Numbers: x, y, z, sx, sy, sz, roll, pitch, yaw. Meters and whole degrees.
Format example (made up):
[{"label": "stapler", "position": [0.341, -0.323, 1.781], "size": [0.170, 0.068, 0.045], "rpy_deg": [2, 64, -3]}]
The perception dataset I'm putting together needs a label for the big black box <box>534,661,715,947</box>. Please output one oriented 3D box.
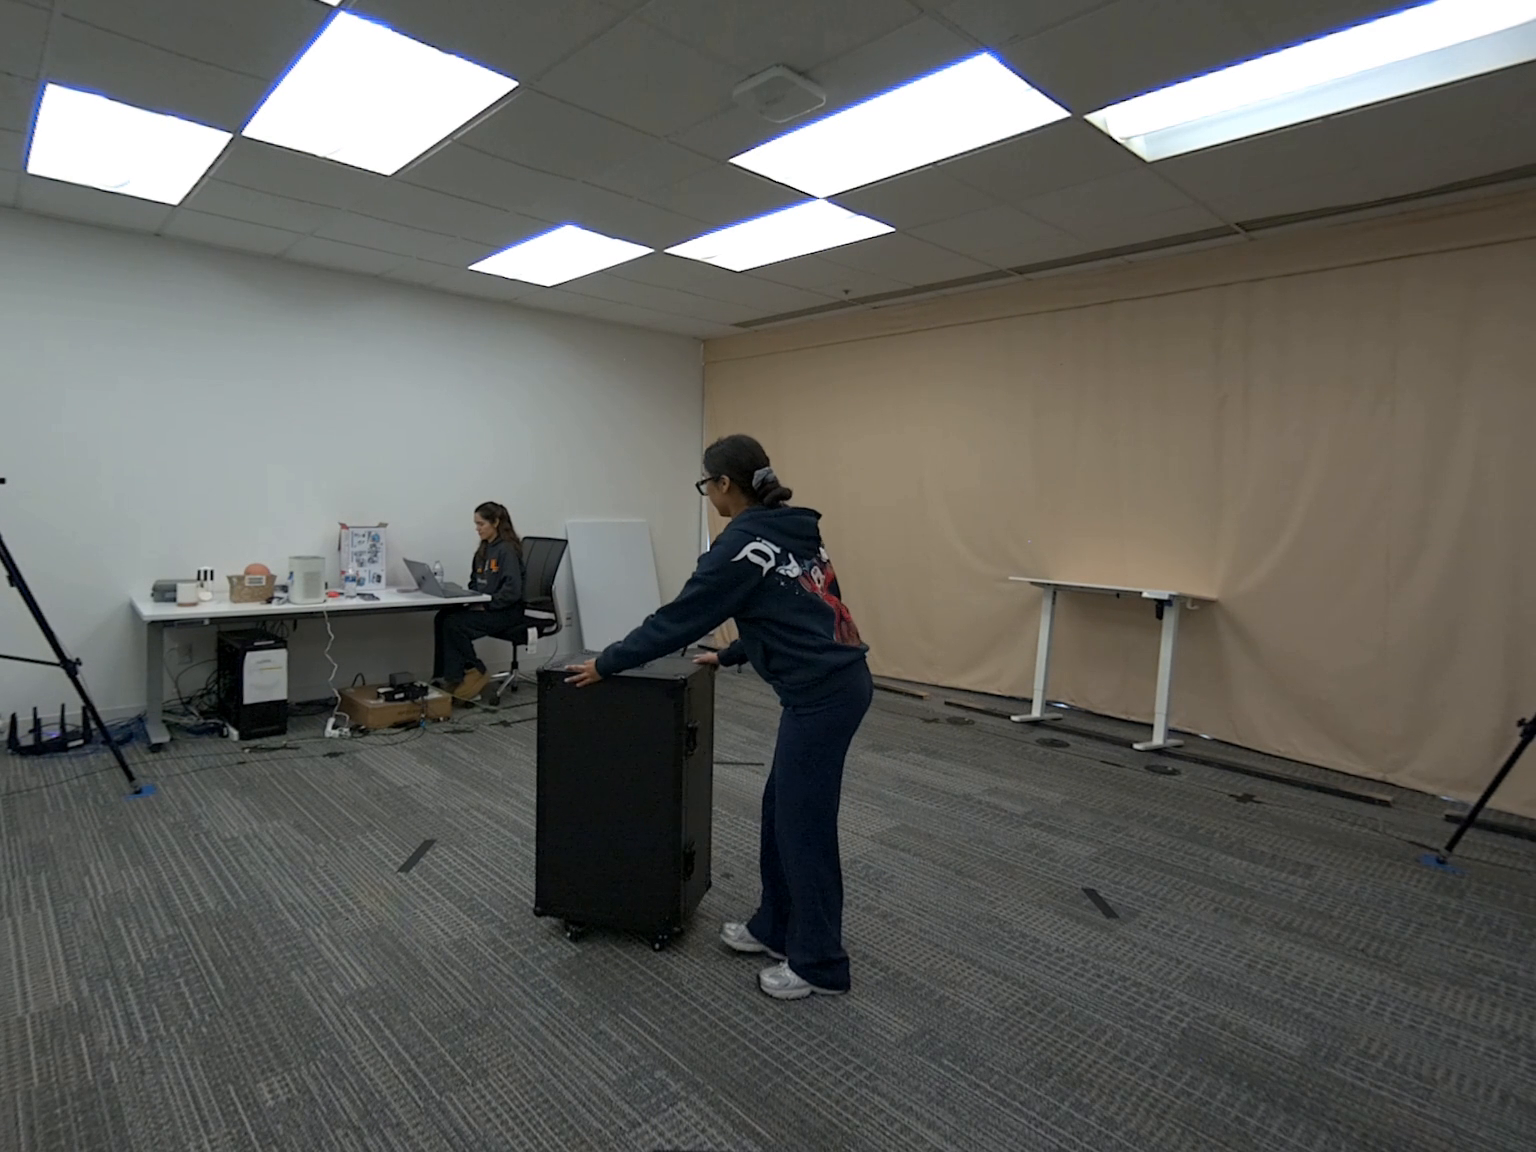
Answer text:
[{"label": "big black box", "position": [-0.452, 0.706, 2.744], "size": [0.527, 0.860, 0.392], "rpy_deg": [2, 2, 14]}]
